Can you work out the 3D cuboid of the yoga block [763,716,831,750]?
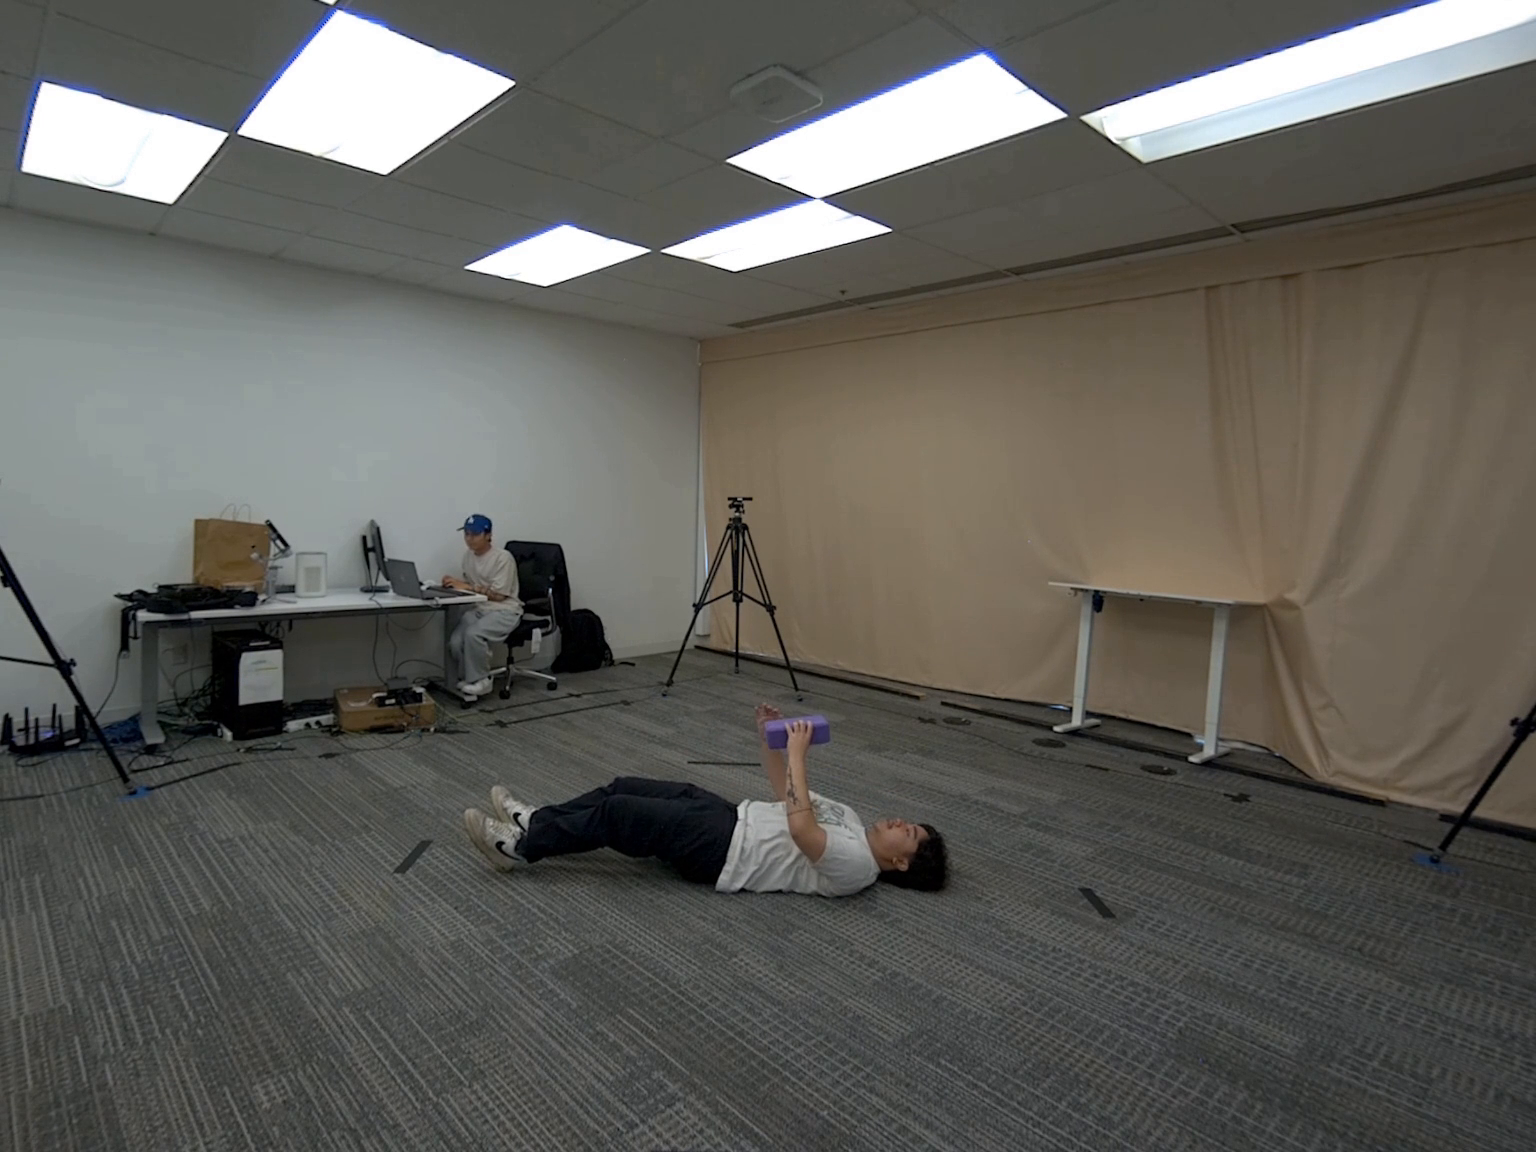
[{"bbox_3d":[0.110,0.577,3.144,0.229,0.076,0.149,-6,4,0],"label":"yoga block"}]
